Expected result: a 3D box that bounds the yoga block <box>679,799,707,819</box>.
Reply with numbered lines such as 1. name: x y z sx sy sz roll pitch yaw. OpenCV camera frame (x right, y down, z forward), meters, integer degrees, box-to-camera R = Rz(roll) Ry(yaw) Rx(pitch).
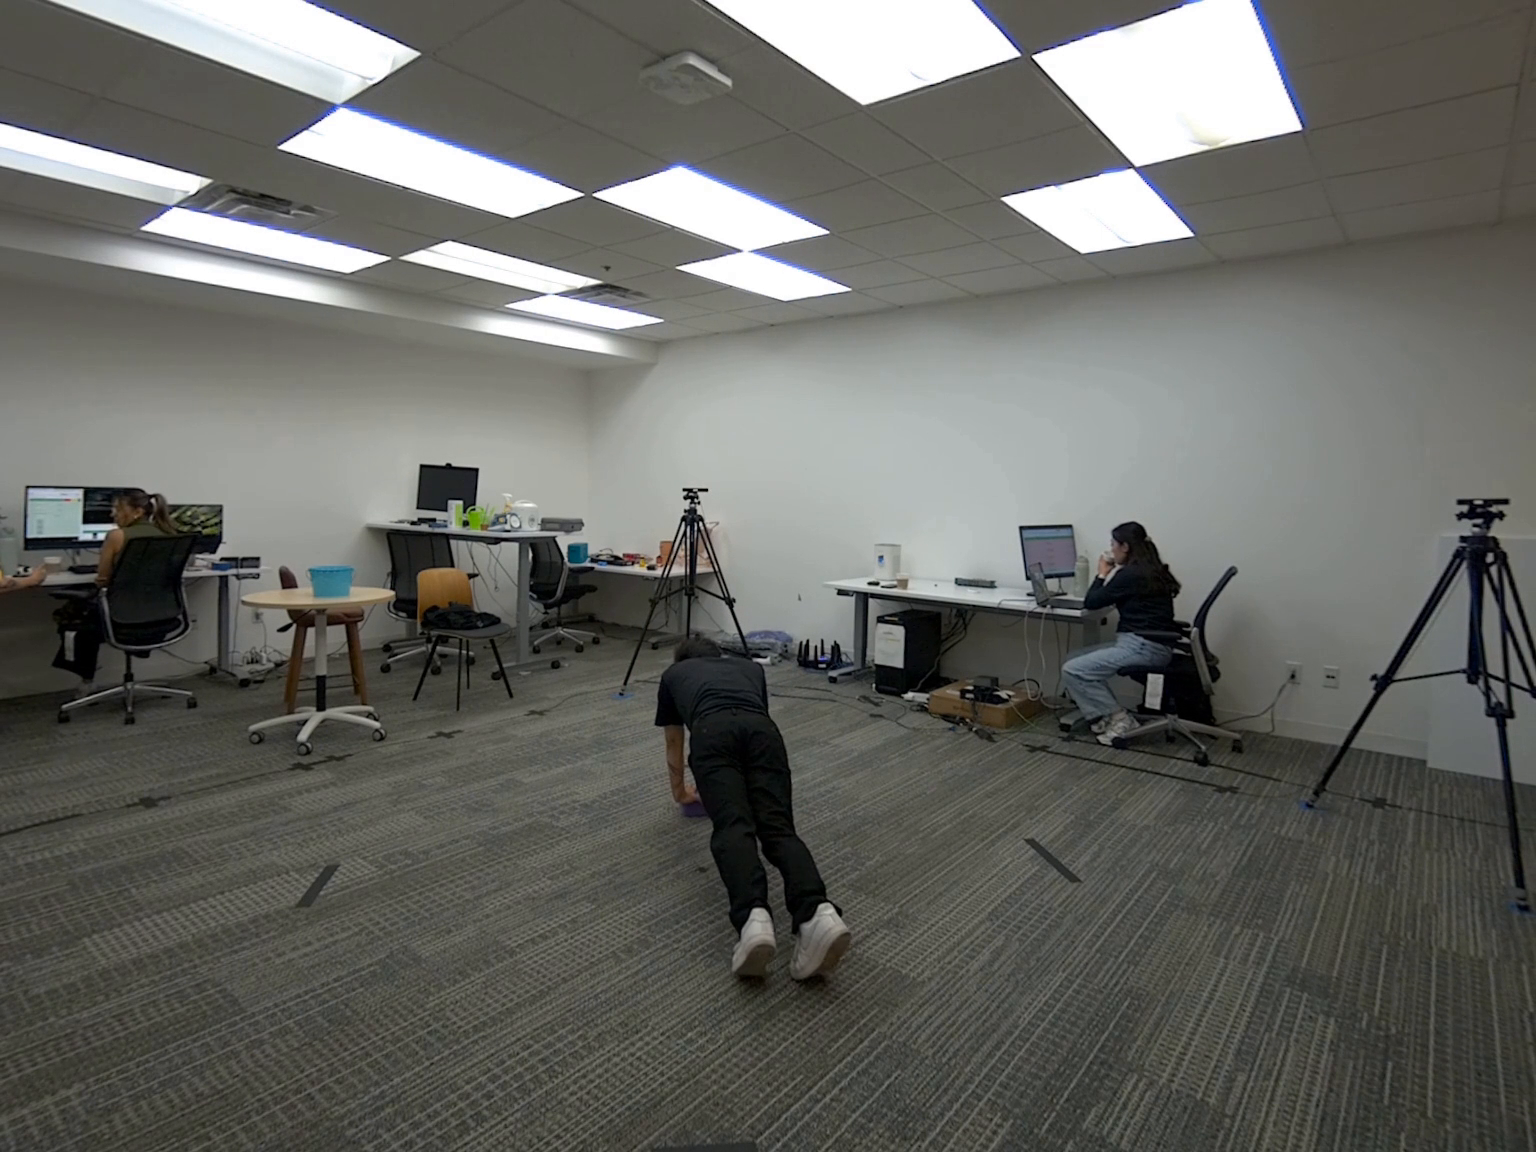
1. yoga block: -0.266 0.968 3.686 0.226 0.076 0.151 -2 4 -12
